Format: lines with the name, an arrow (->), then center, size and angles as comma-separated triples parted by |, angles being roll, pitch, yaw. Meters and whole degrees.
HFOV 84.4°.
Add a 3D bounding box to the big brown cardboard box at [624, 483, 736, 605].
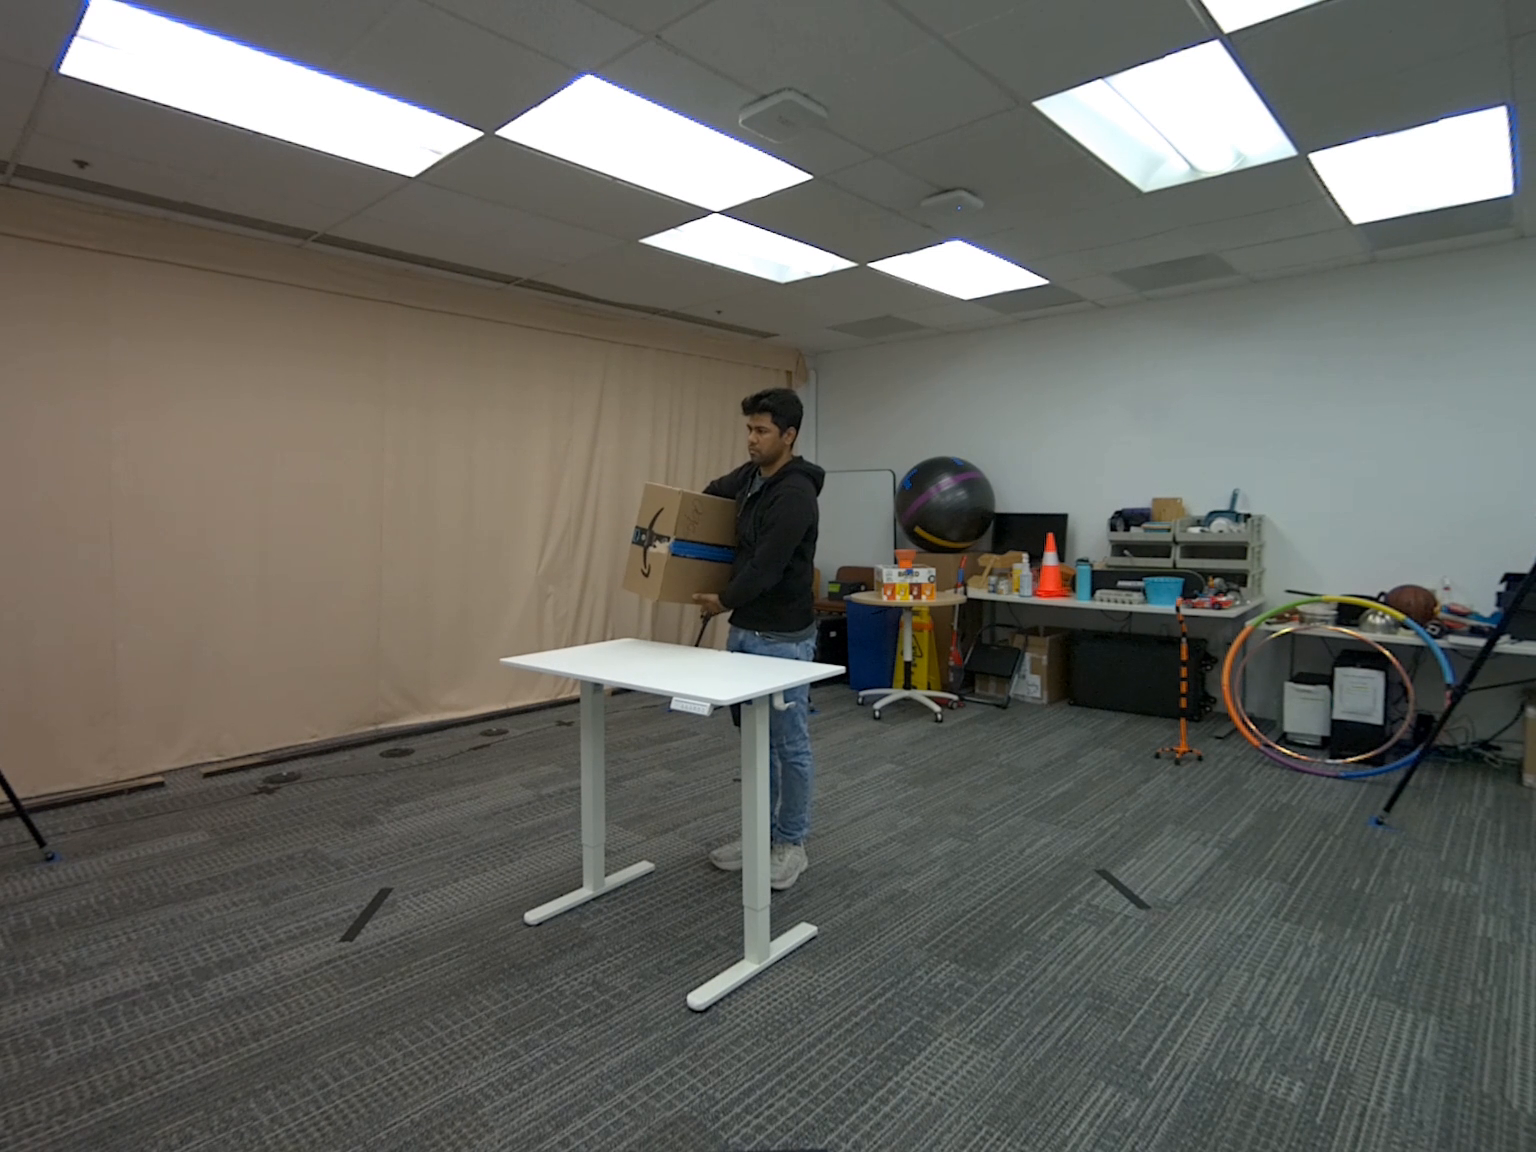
big brown cardboard box -> -0.241, -0.103, 3.315 | 0.242, 0.417, 0.569 | 16, 6, 43
